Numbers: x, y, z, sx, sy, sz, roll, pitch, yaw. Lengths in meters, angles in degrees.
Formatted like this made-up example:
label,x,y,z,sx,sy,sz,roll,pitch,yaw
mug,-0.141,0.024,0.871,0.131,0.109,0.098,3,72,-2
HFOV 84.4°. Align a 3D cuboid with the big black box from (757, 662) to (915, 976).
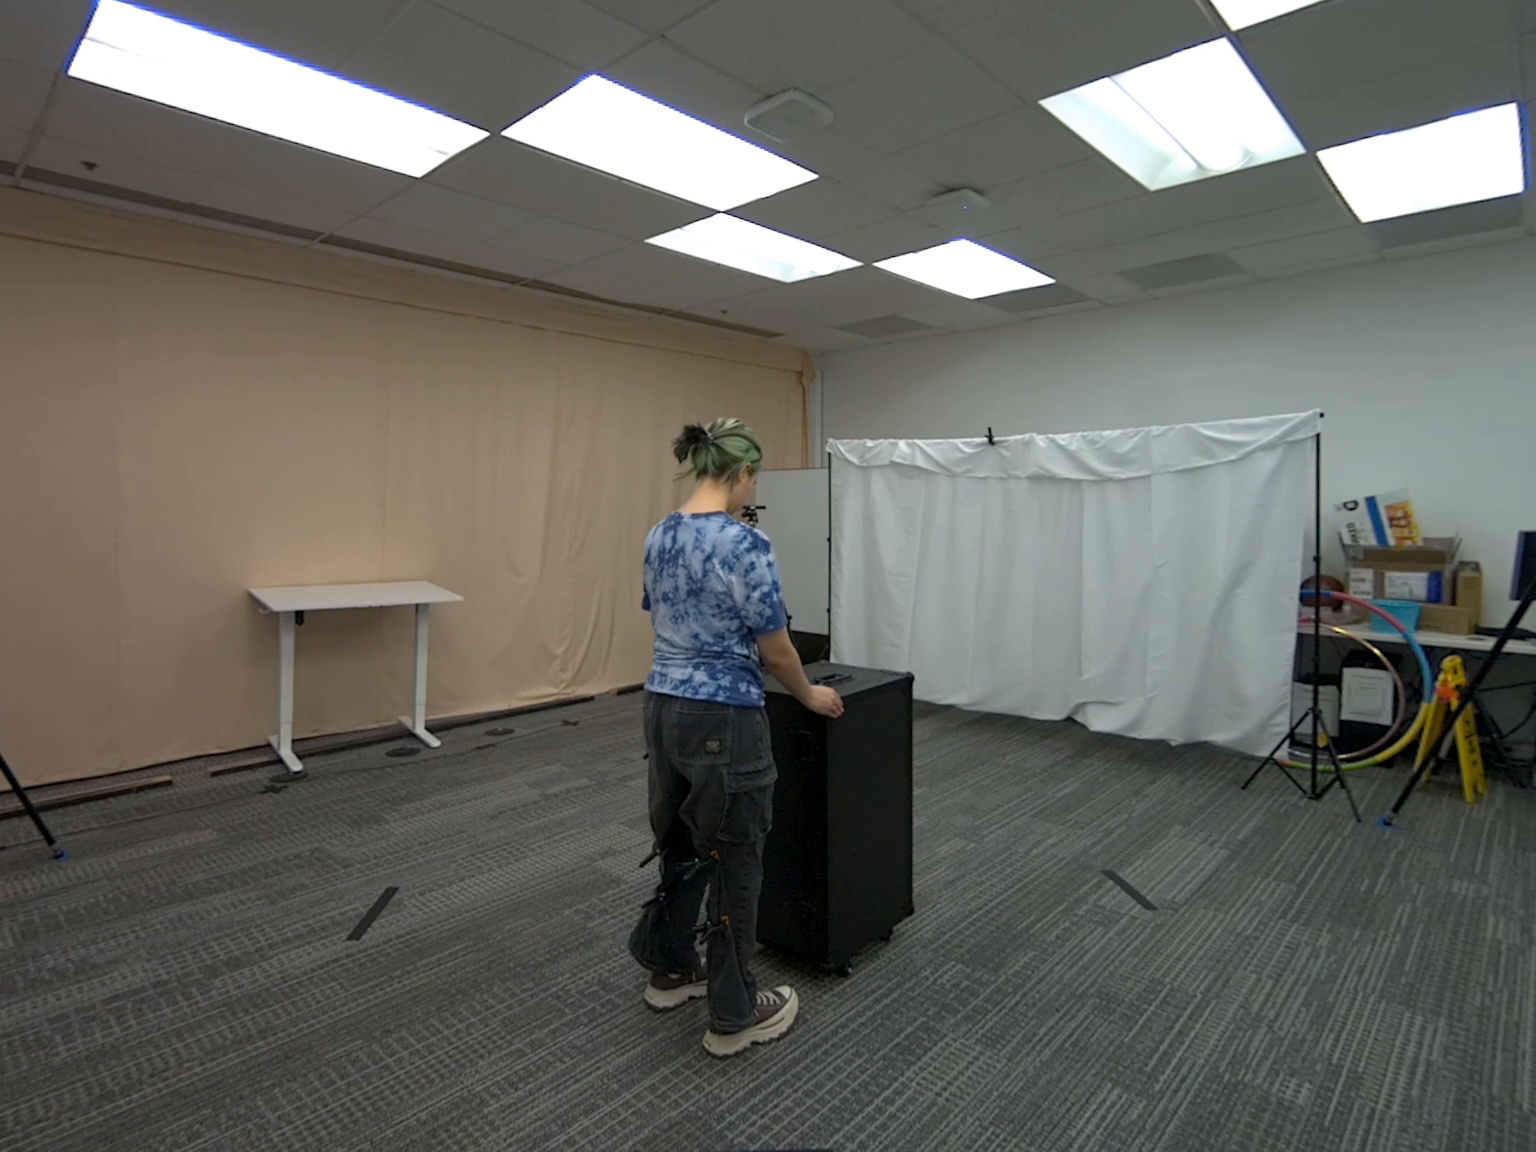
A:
label,x,y,z,sx,sy,sz,roll,pitch,yaw
big black box,0.180,0.748,2.656,0.409,0.860,0.505,1,4,40
